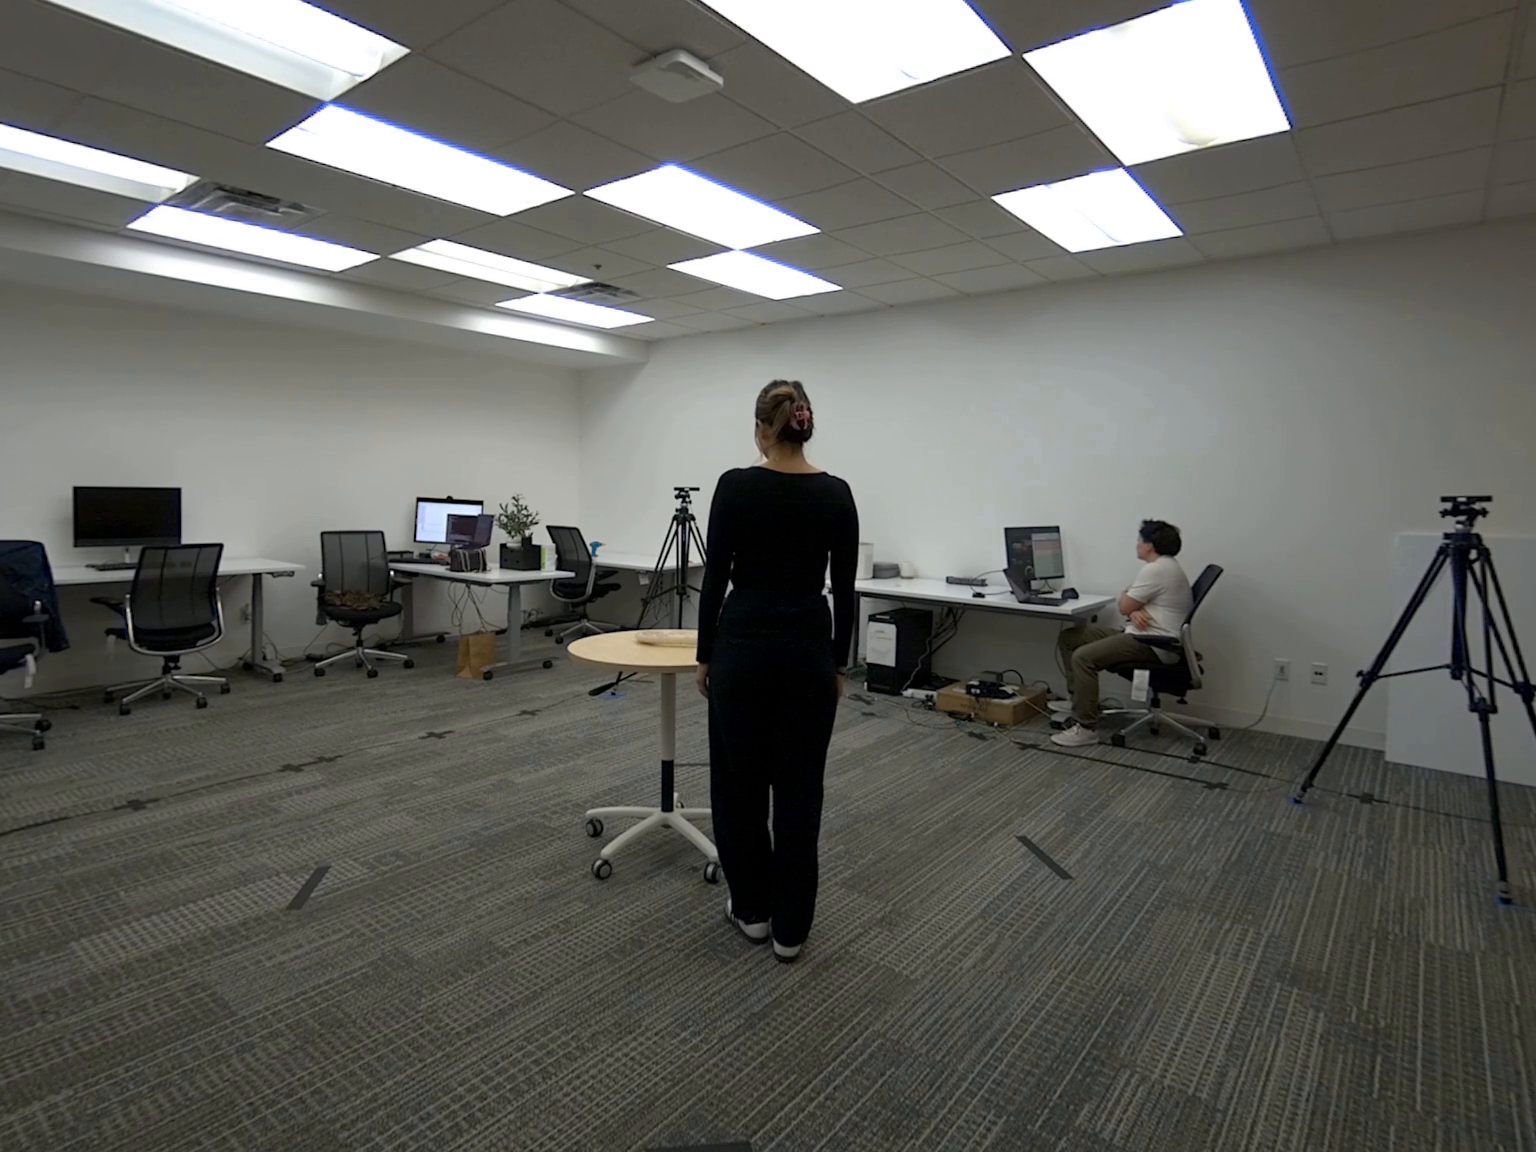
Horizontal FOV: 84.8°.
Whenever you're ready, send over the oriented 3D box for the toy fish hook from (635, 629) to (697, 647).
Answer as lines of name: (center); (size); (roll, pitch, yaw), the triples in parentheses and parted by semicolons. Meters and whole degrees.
toy fish hook: (-0.290, 0.243, 3.320); (0.519, 0.048, 0.221); (2, 8, 23)
